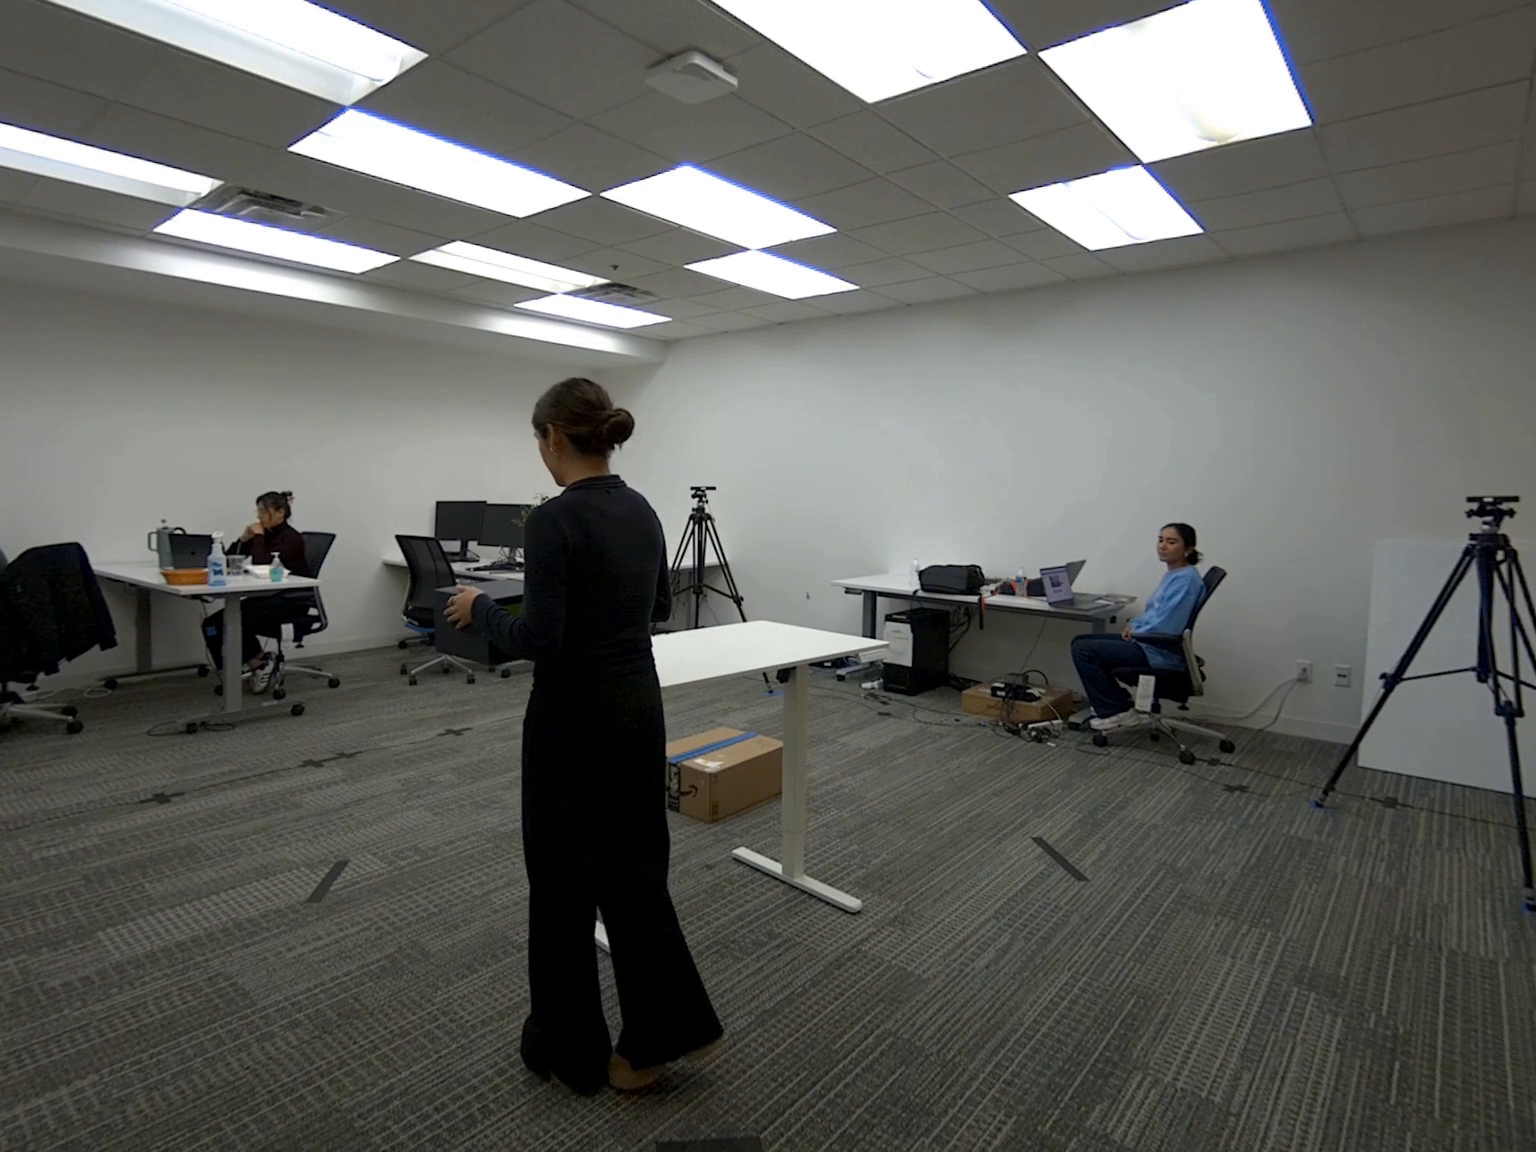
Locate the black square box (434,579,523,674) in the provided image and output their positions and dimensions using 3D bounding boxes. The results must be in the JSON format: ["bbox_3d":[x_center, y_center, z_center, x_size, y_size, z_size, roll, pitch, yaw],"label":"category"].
[{"bbox_3d":[-0.662,0.105,2.088,0.224,0.155,0.222,6,9,35],"label":"black square box"}]
